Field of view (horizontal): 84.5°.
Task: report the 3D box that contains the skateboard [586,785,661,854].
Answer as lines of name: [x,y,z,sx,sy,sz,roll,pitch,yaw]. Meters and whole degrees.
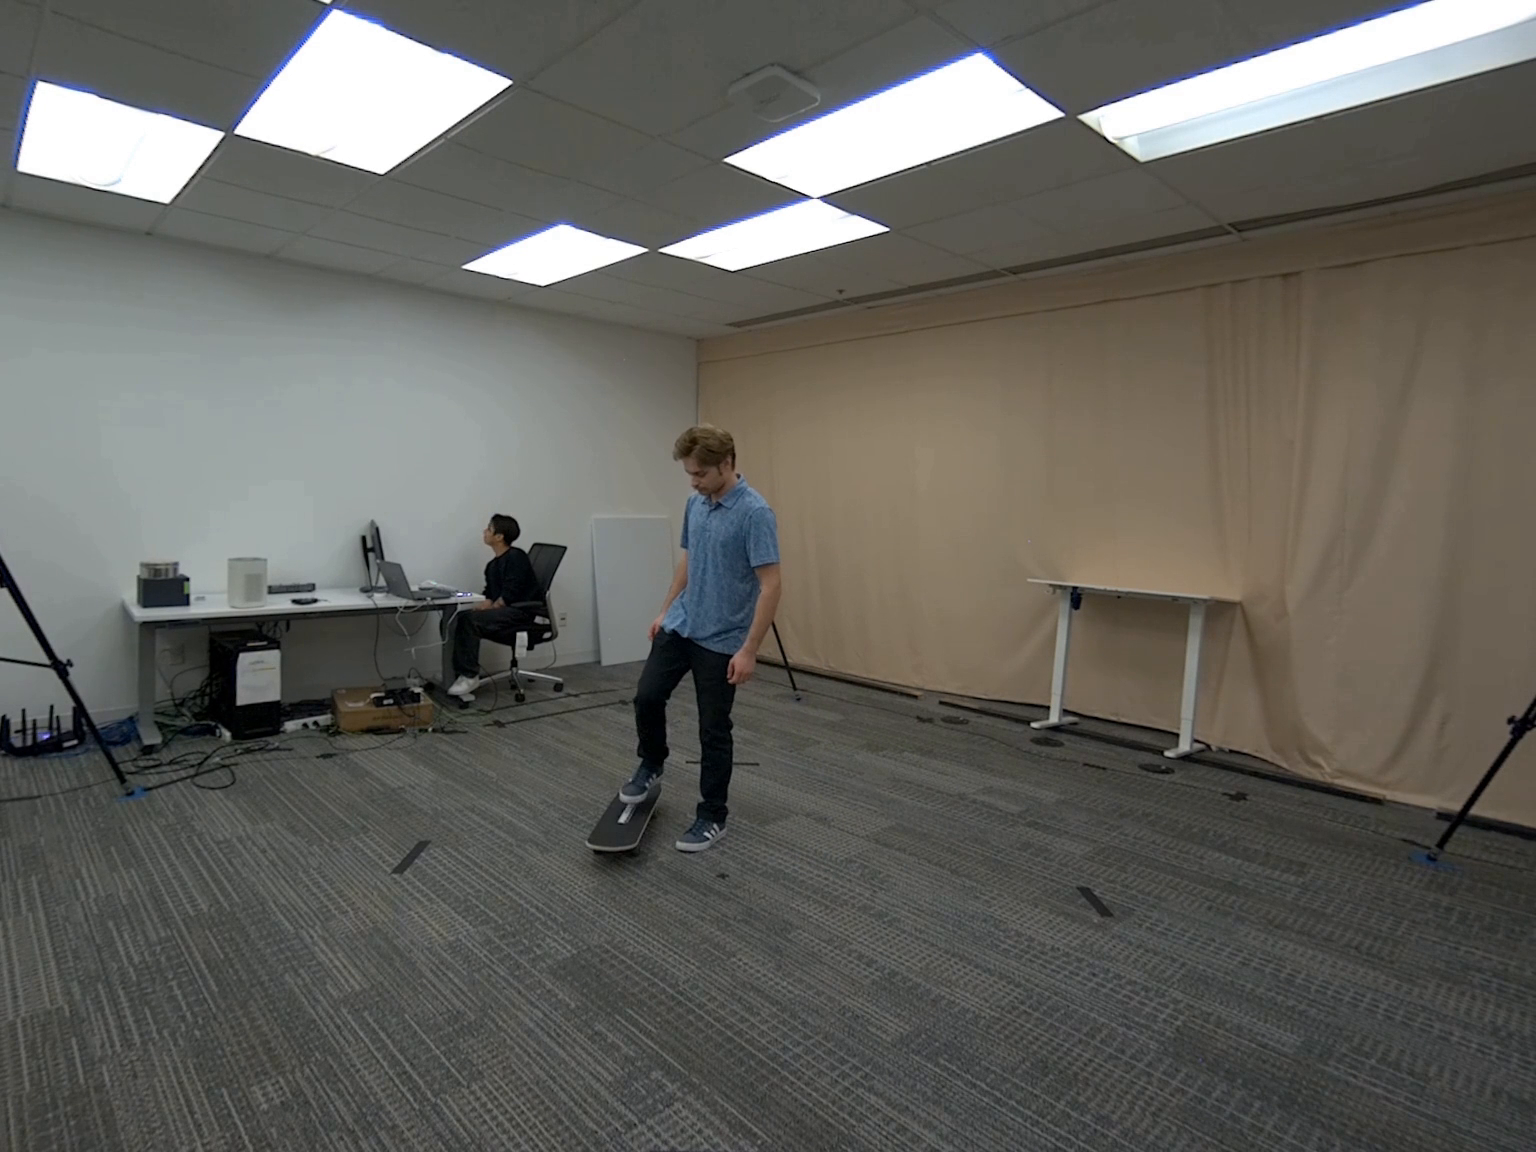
skateboard: [-0.586,1.008,3.464,0.194,0.110,0.785,2,5,3]
